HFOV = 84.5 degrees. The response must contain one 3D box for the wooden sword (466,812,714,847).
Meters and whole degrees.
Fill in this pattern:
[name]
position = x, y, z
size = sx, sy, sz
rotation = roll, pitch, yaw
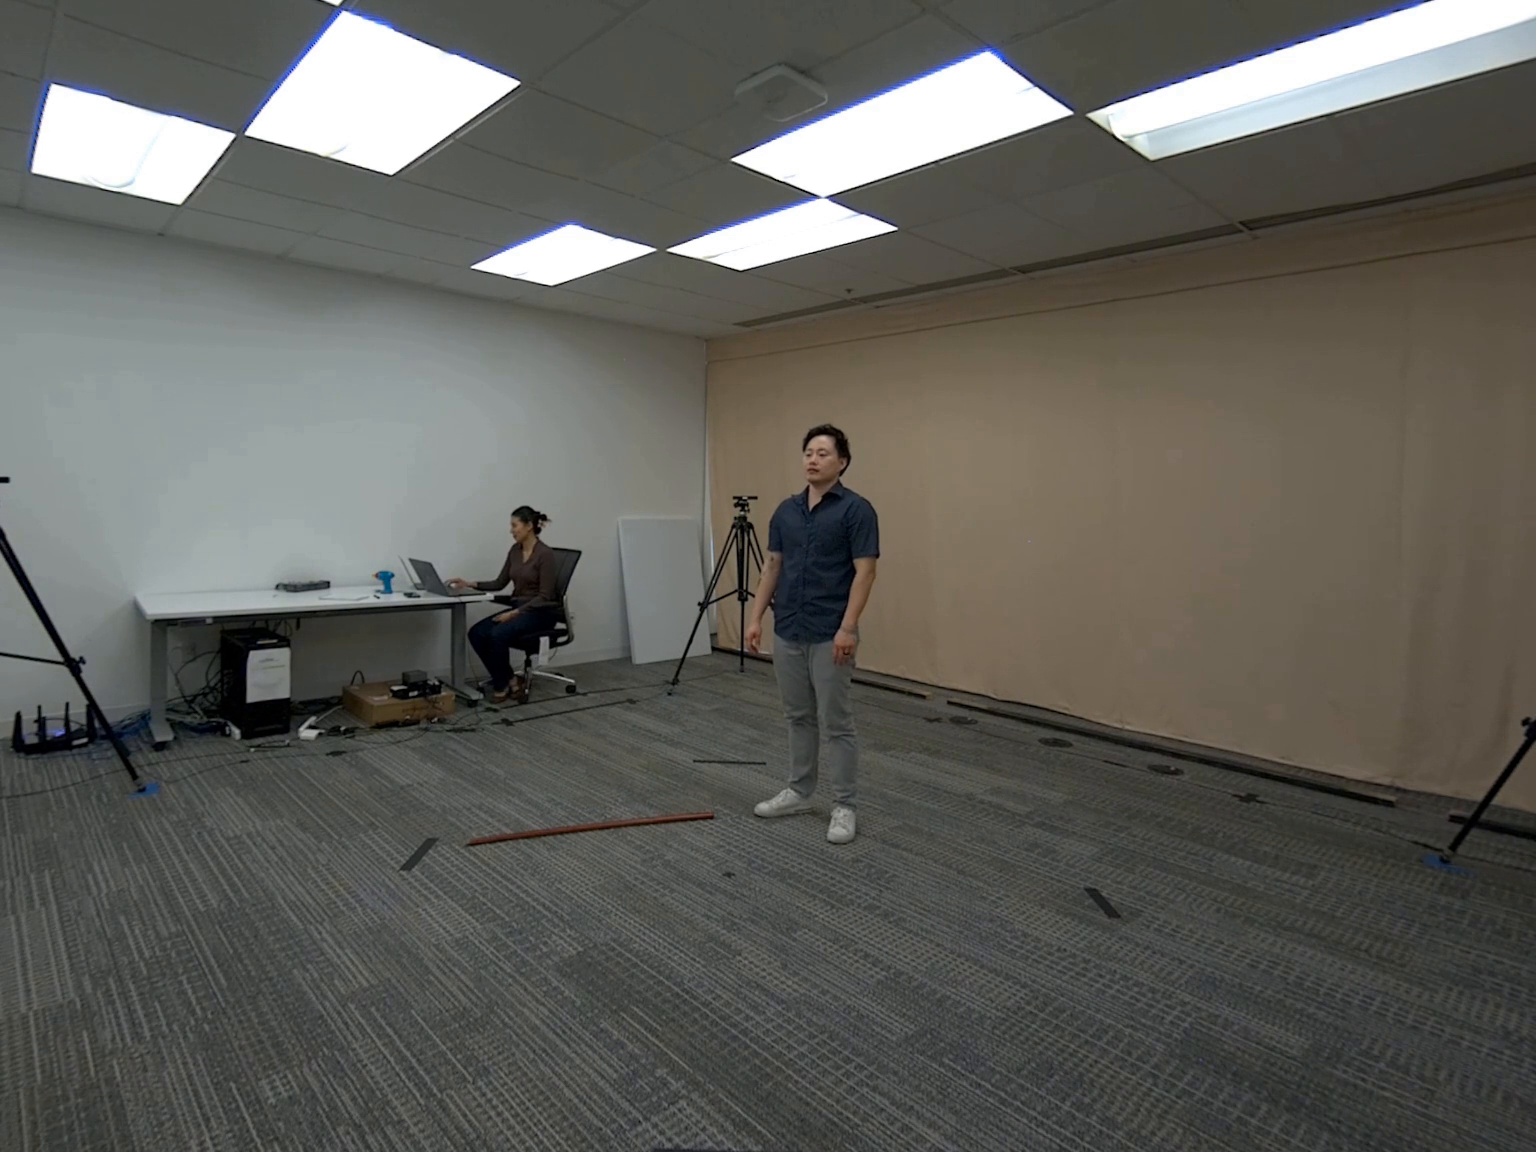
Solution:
[wooden sword]
position = -0.711, 1.040, 3.483
size = 1.009, 0.024, 0.053
rotation = 0, 20, -20
